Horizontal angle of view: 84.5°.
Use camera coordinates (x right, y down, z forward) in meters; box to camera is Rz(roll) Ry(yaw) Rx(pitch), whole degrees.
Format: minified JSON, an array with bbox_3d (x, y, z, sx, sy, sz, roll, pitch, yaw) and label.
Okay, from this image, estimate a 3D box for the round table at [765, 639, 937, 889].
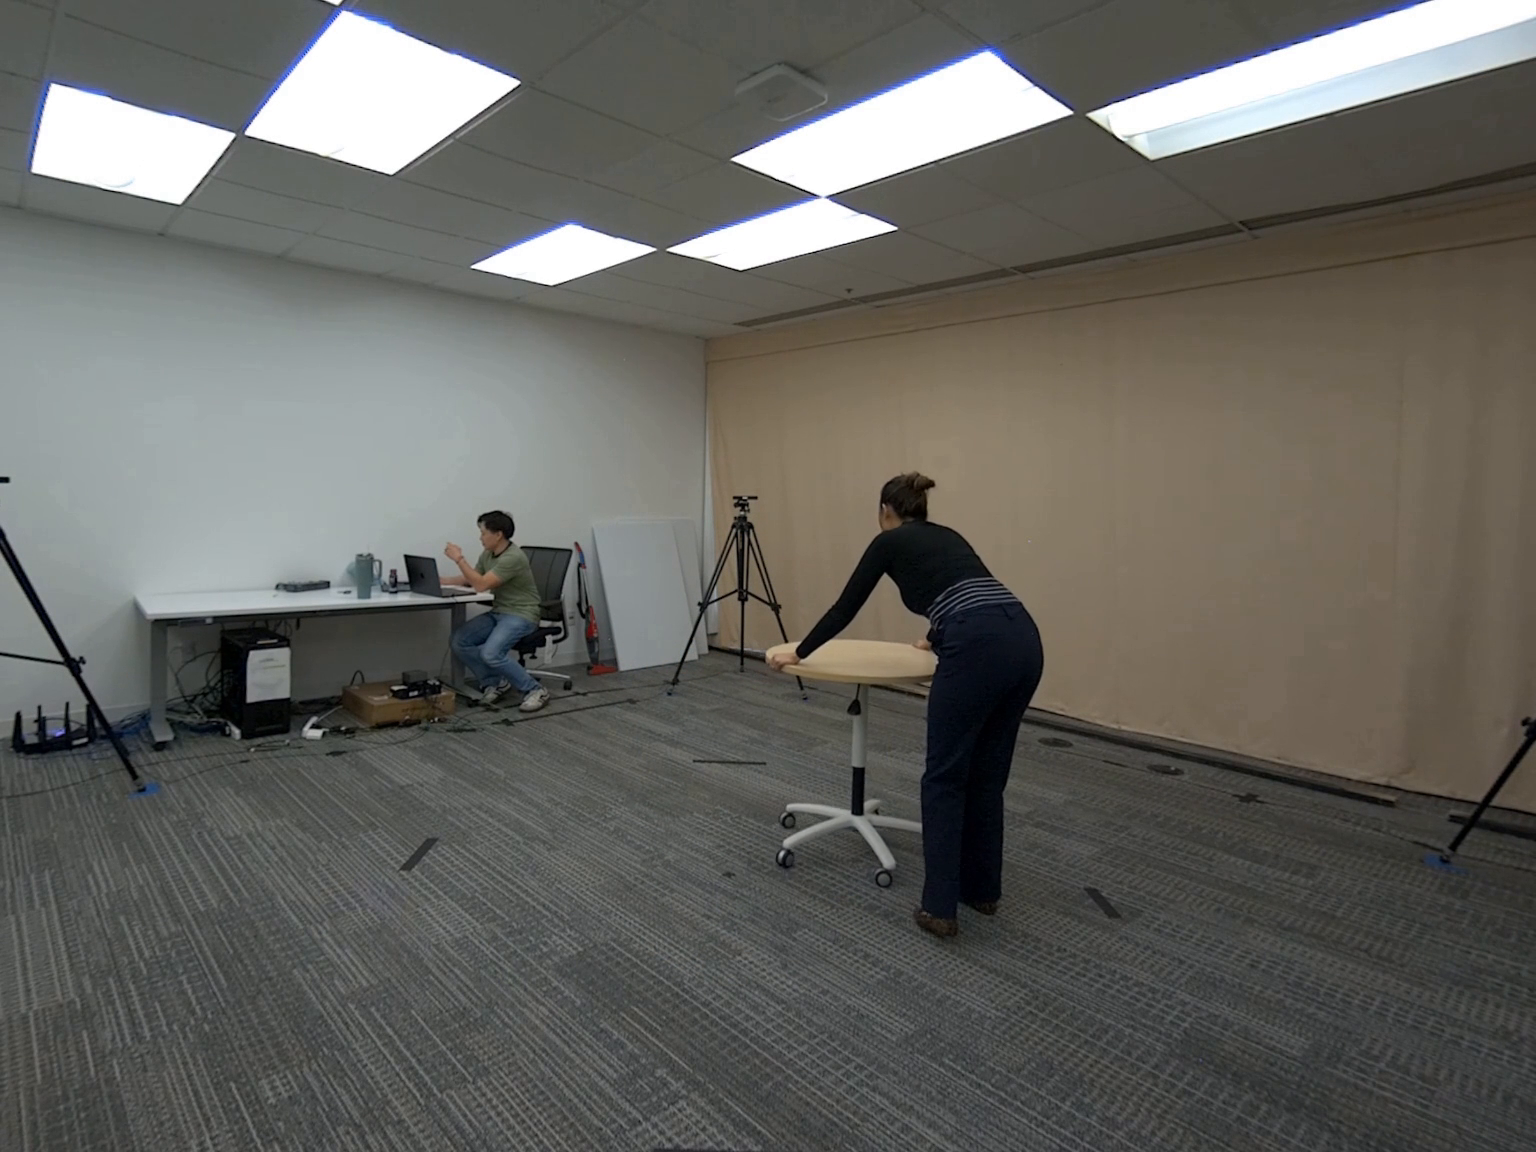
[{"bbox_3d":[0.347,0.707,3.350,0.763,0.792,0.766,2,4,-1],"label":"round table"}]
